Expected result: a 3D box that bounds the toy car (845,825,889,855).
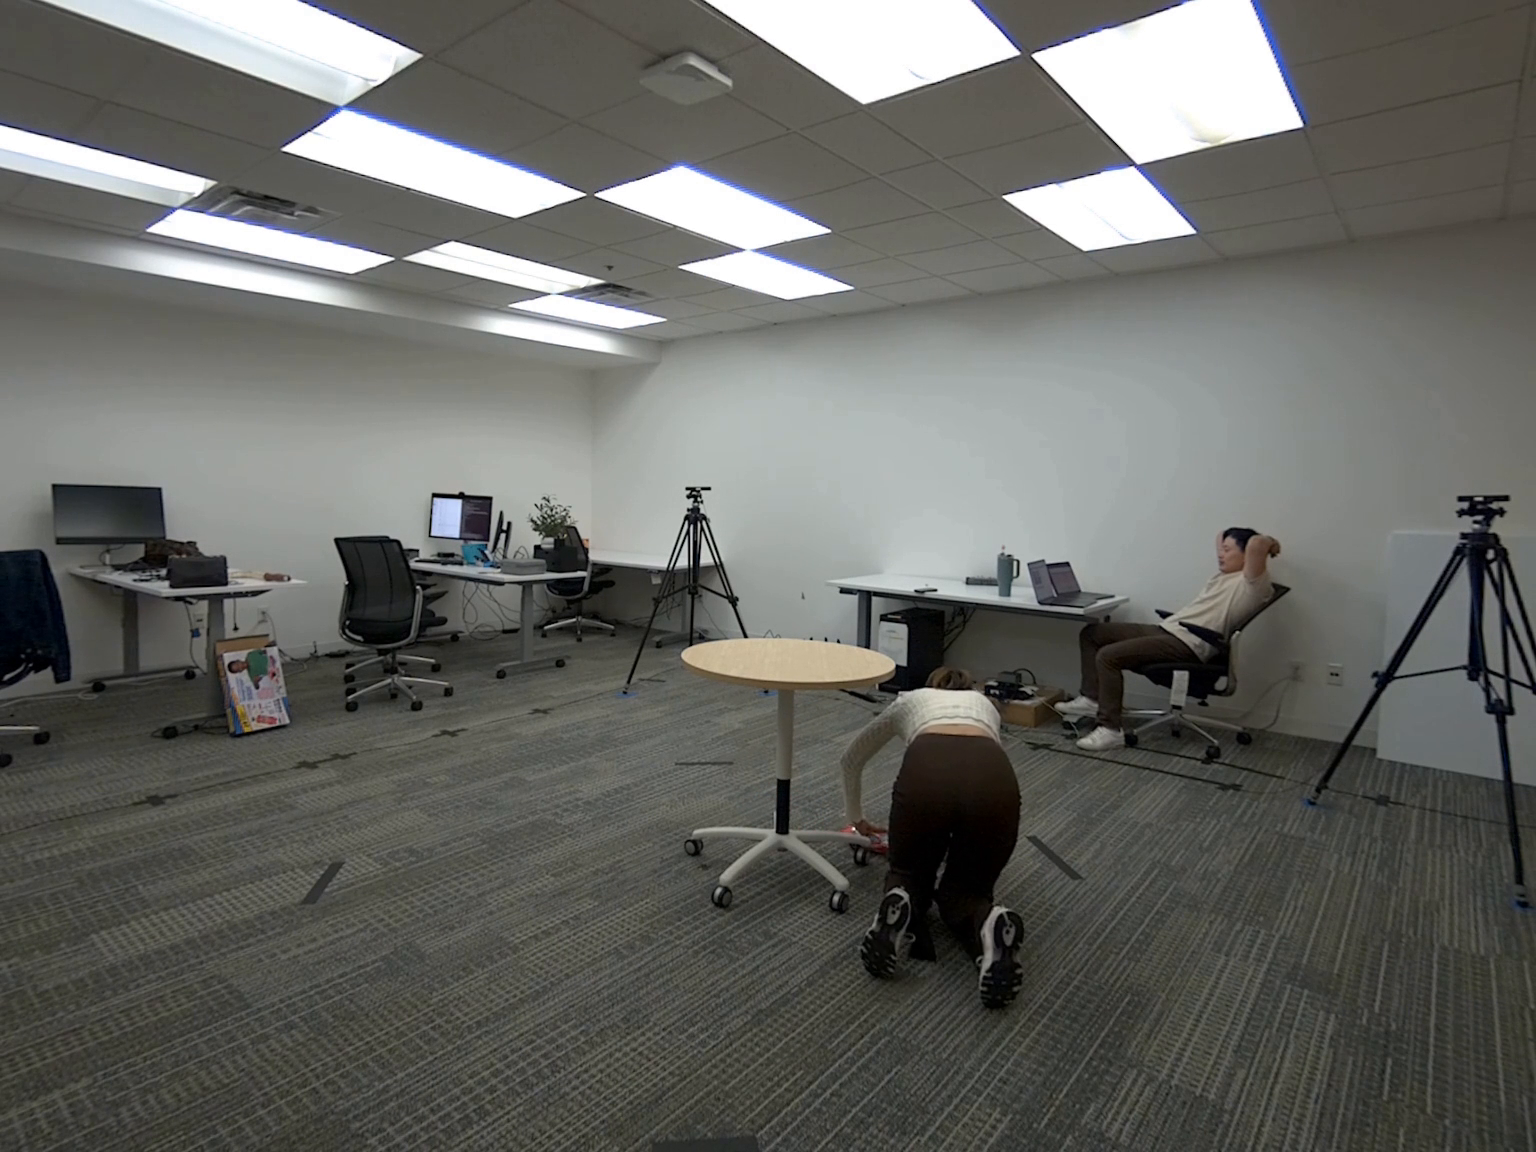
[{"bbox_3d":[0.381,1.025,3.310,0.263,0.082,0.127,16,13,28],"label":"toy car"}]
